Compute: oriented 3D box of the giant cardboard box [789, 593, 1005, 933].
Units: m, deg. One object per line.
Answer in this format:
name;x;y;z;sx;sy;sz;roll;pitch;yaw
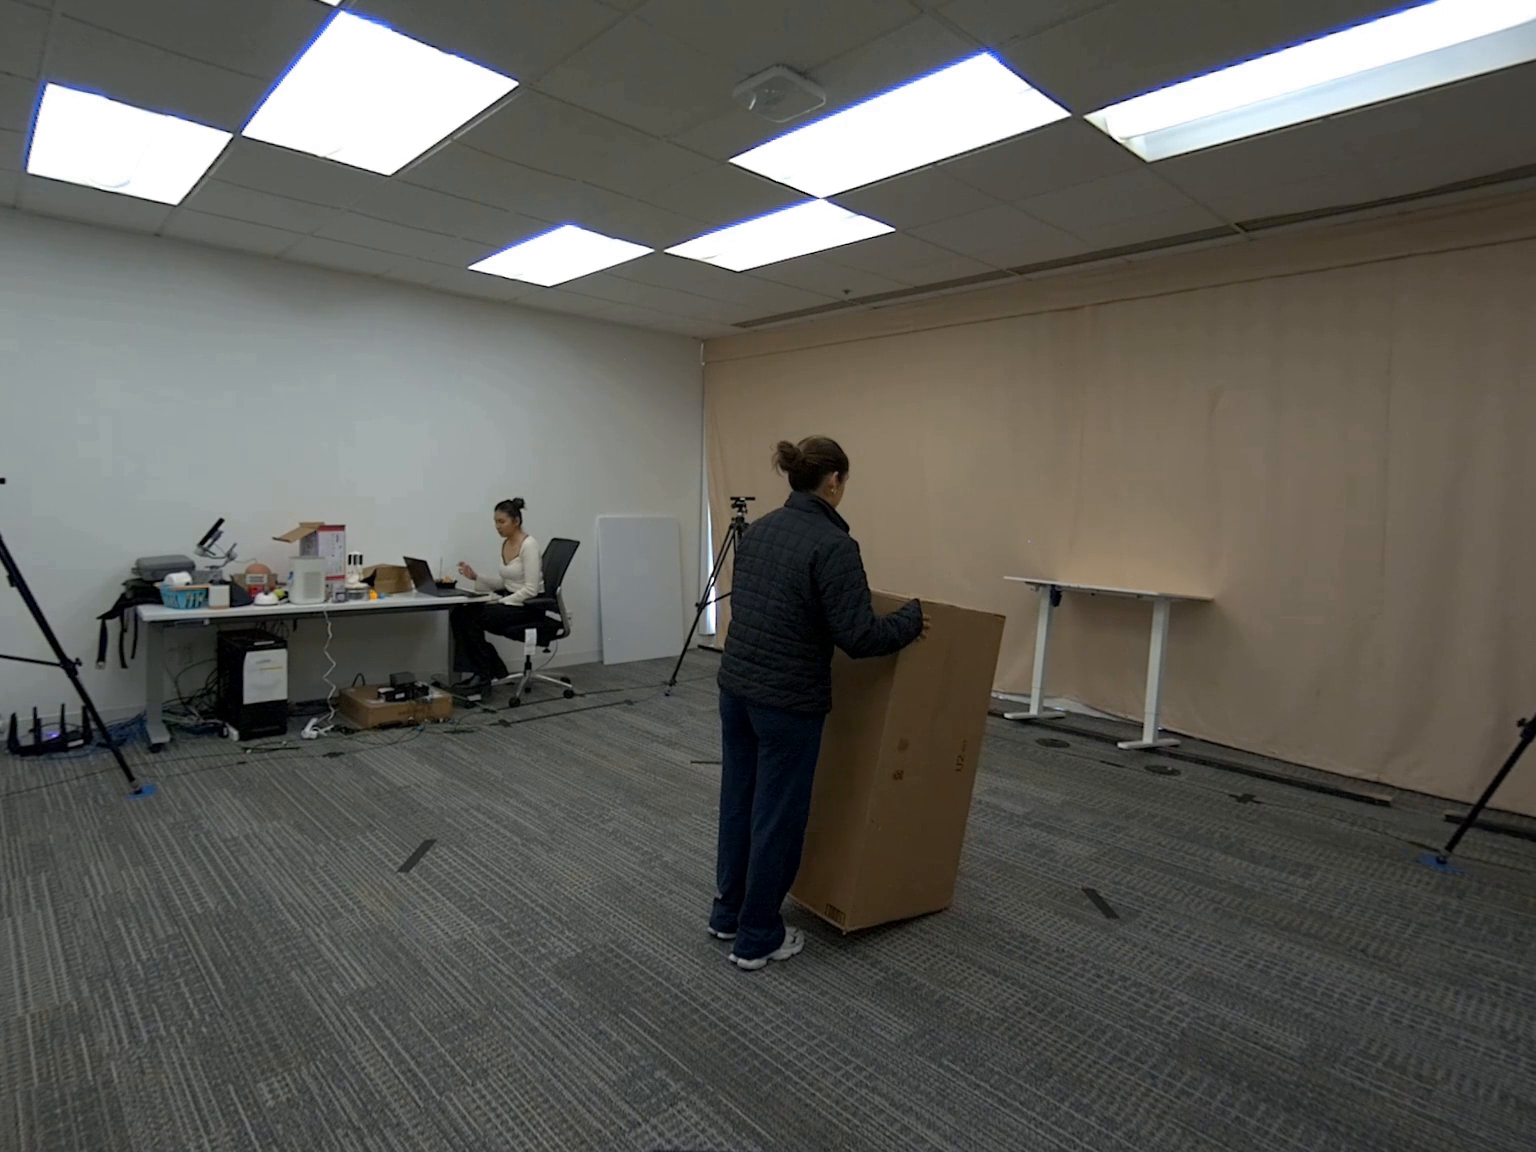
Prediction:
giant cardboard box;0.385;0.577;2.862;0.562;1.026;0.438;10;0;-43
